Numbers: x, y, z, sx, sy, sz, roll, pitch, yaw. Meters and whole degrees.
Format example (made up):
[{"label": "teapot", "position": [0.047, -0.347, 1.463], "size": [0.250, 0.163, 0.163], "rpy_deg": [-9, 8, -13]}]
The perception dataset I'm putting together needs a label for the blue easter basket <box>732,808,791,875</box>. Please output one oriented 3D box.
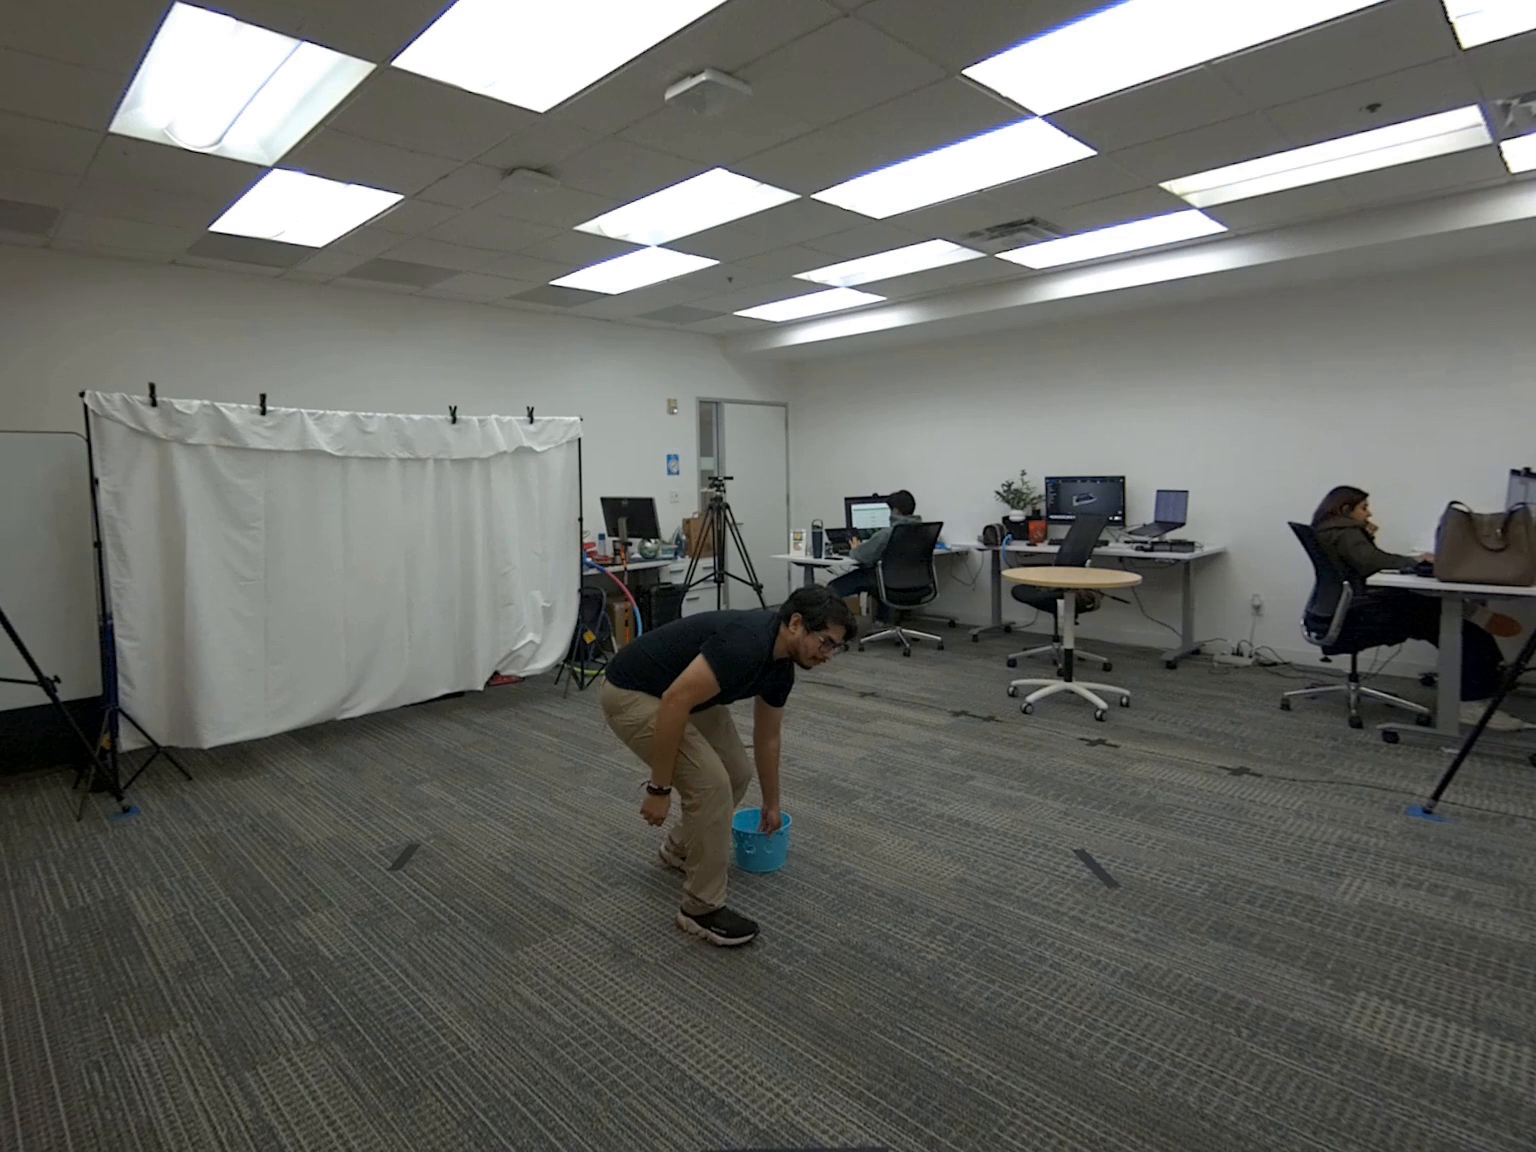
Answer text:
[{"label": "blue easter basket", "position": [-0.016, 0.958, 3.097], "size": [0.243, 0.155, 0.245], "rpy_deg": [-1, 5, -2]}]
